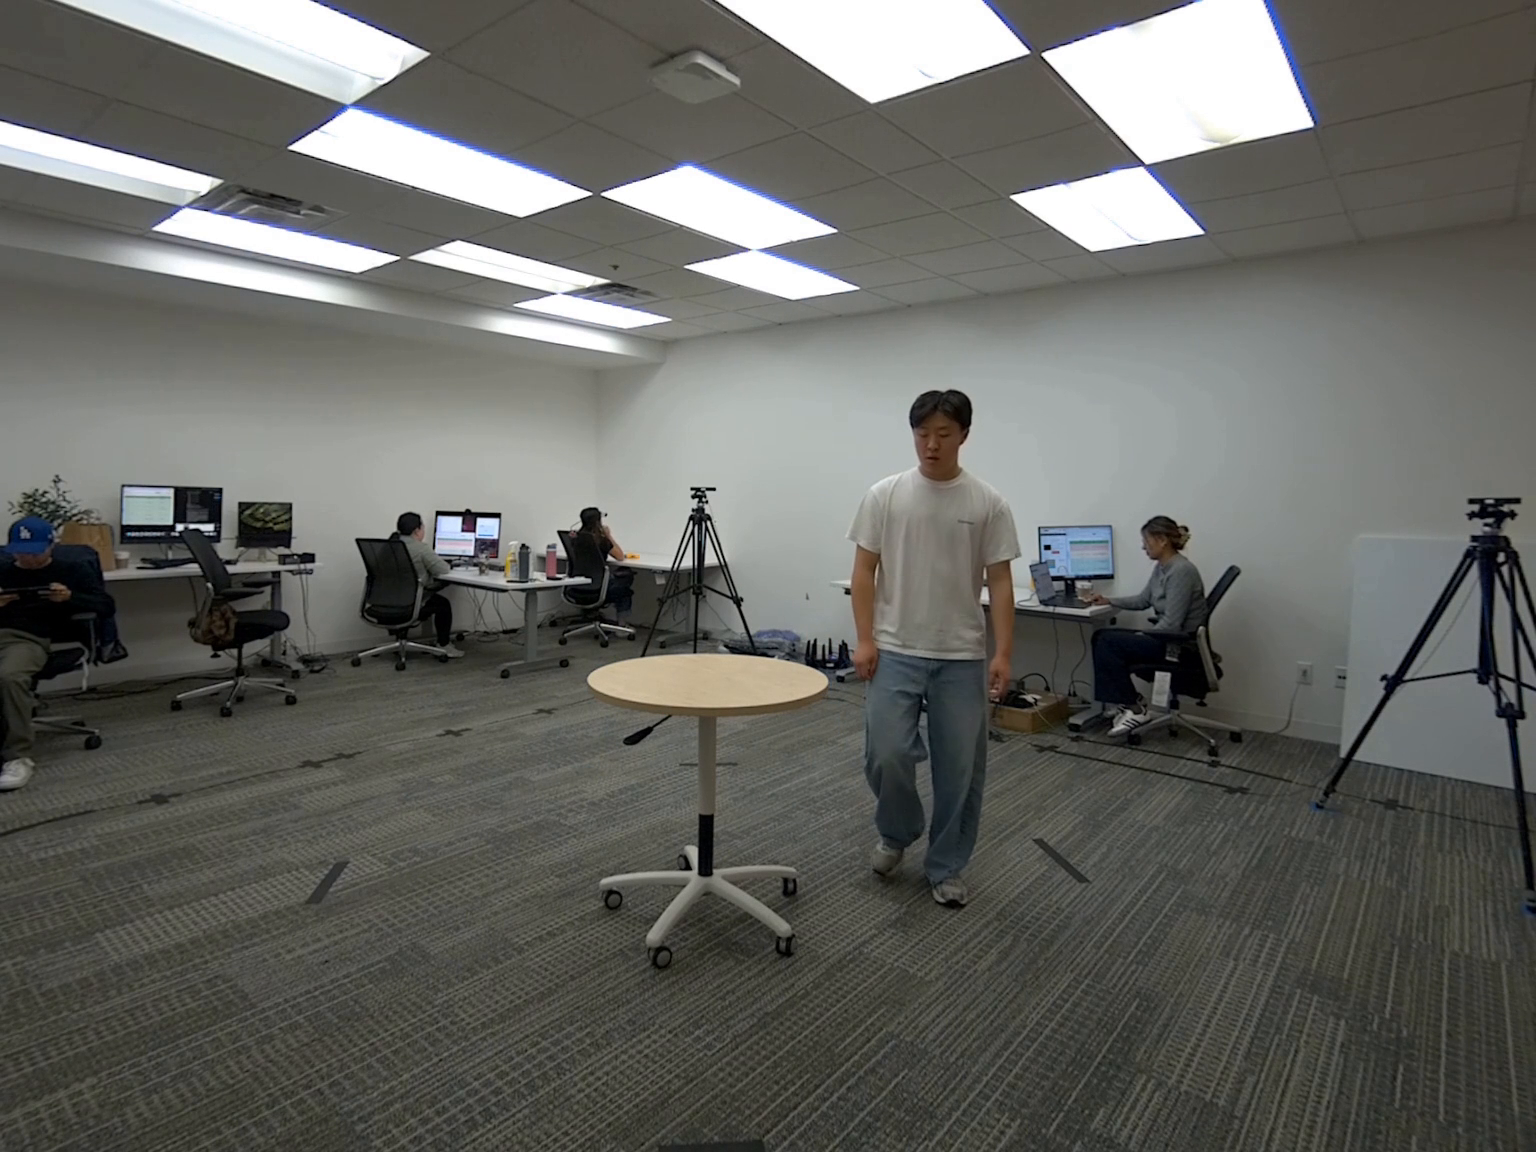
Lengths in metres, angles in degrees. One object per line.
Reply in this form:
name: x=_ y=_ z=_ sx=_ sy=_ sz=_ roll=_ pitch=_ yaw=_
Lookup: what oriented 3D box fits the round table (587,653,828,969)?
round table: x=-0.211 y=0.715 z=2.742 sx=0.763 sy=0.791 sz=0.768 roll=1 pitch=4 yaw=-2
